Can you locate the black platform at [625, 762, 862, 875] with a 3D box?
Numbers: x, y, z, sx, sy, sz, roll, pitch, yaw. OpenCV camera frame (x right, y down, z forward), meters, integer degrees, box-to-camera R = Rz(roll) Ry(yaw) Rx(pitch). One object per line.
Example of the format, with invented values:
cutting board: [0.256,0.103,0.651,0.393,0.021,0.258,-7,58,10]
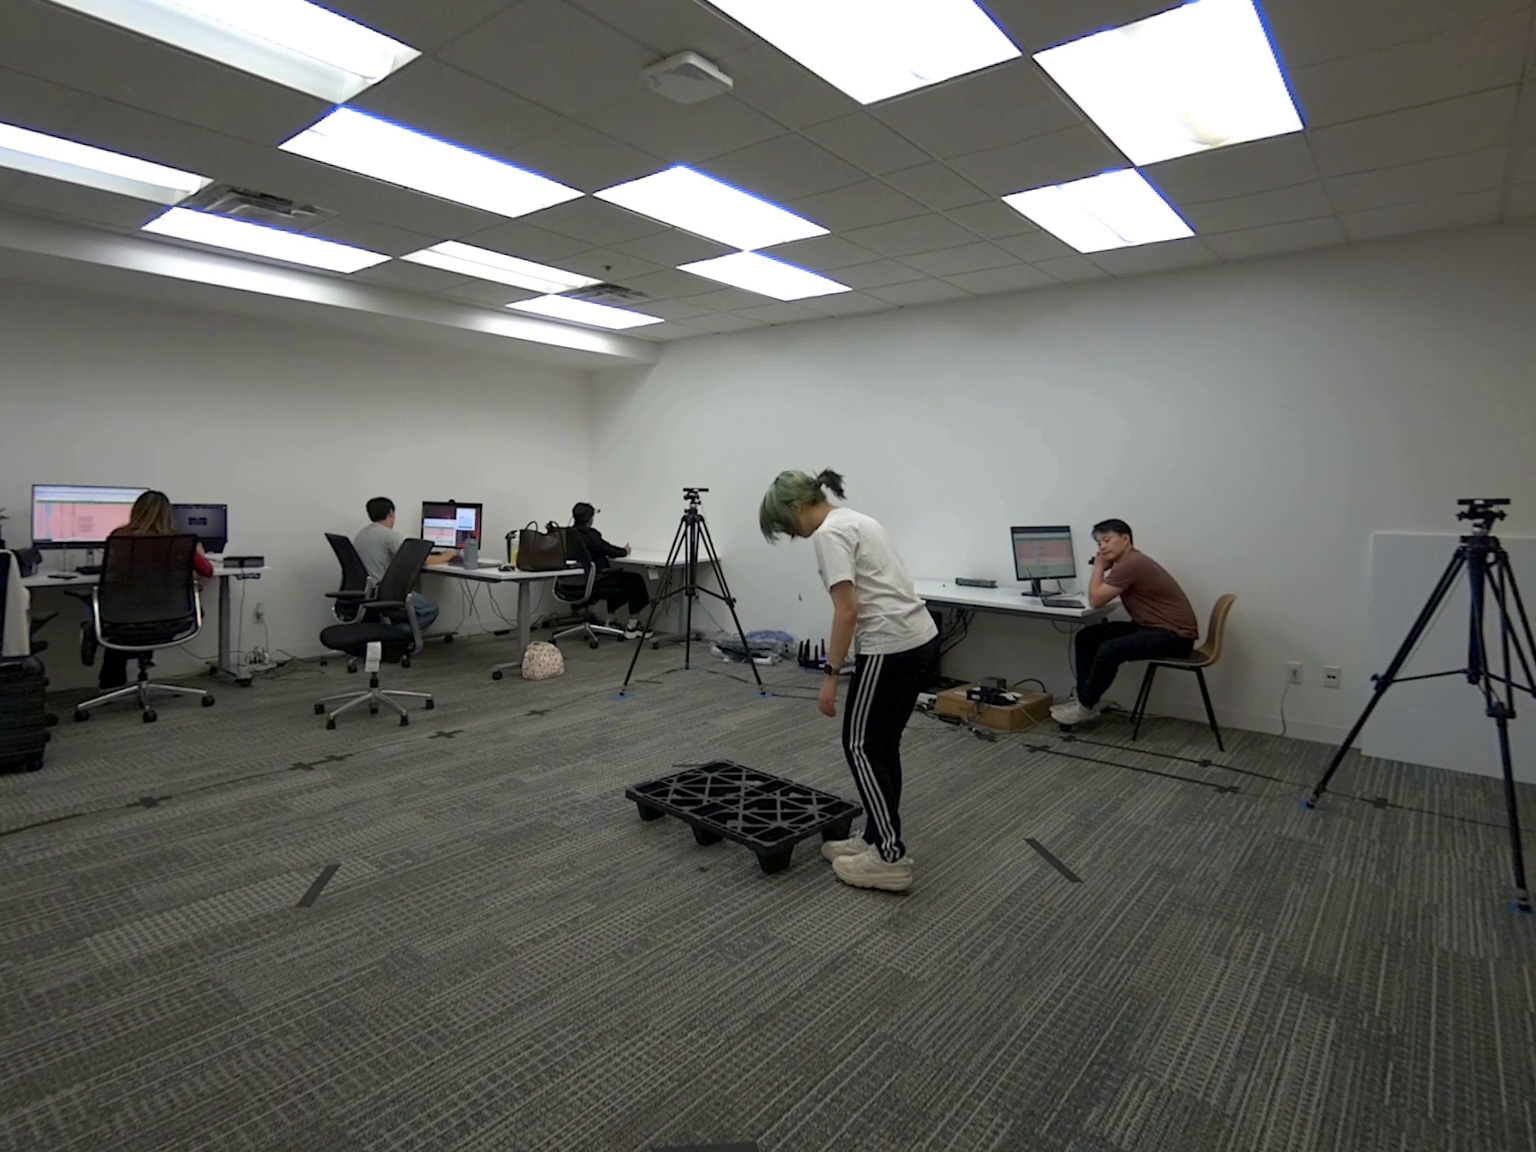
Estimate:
black platform: [-0.120,0.968,3.496,0.833,0.143,0.587,7,7,42]
